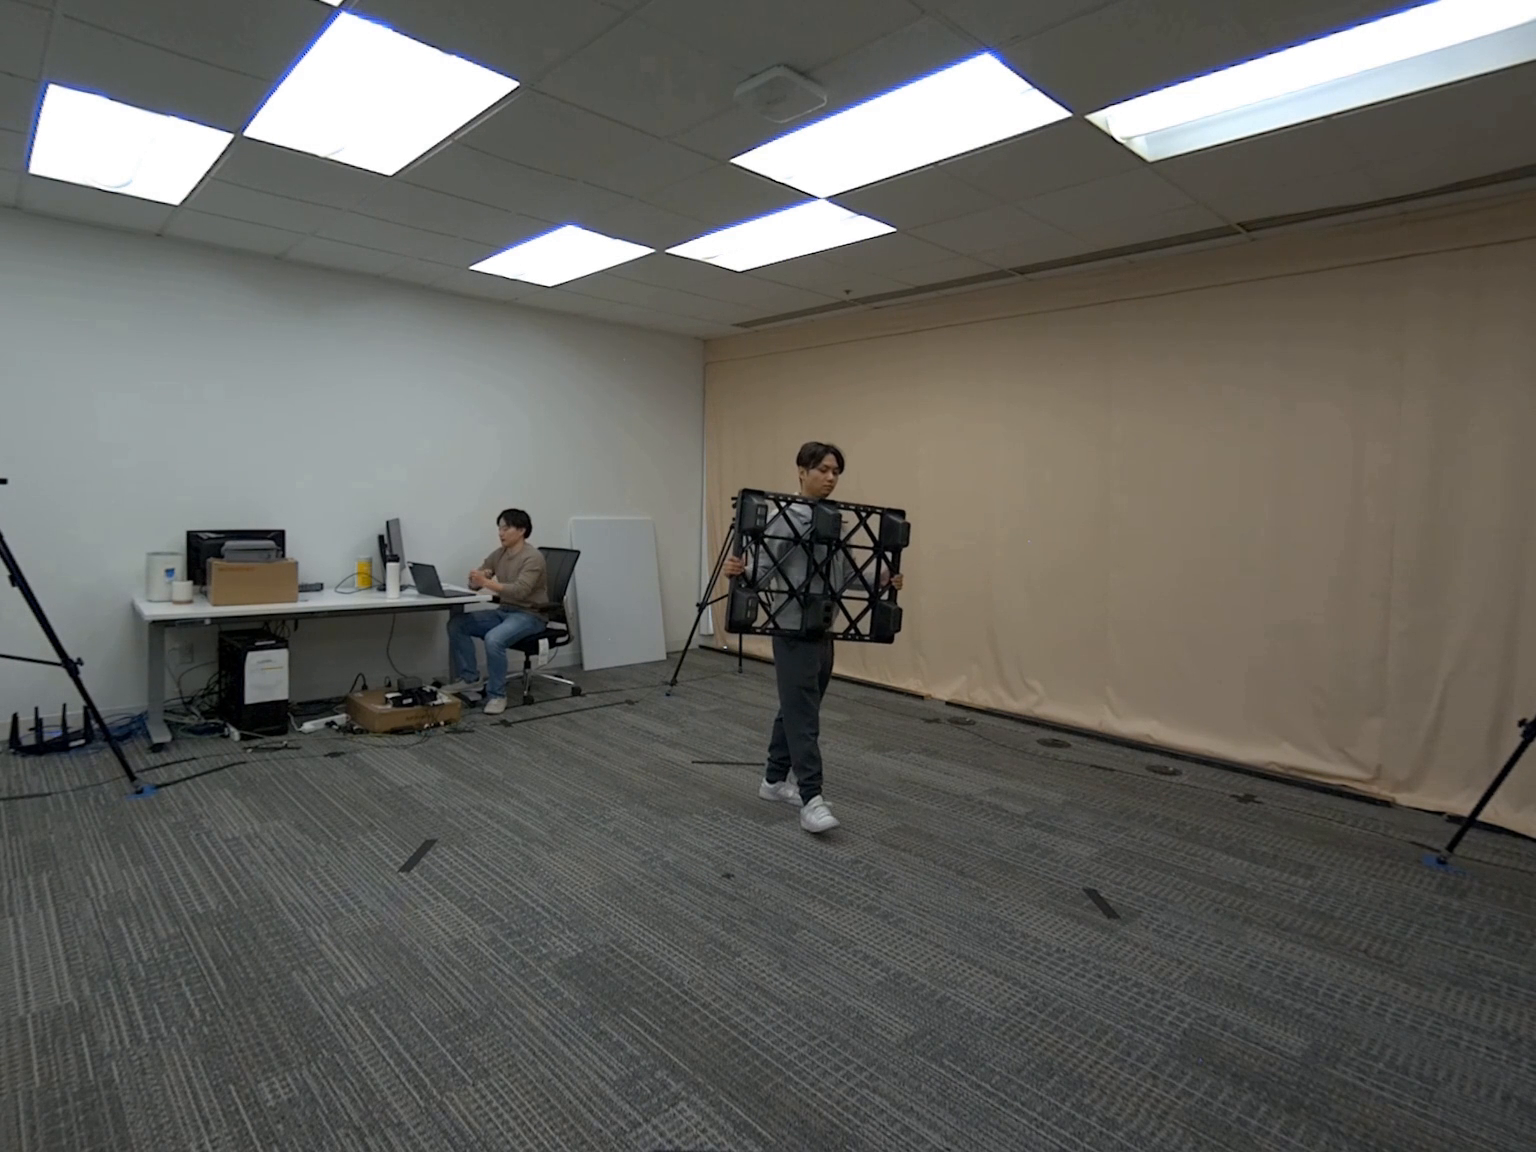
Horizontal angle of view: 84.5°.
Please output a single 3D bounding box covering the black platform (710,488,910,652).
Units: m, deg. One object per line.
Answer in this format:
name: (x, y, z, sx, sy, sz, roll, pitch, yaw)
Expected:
black platform: (0.225, -0.023, 3.542, 0.792, 0.606, 0.145, 6, -2, -21)
